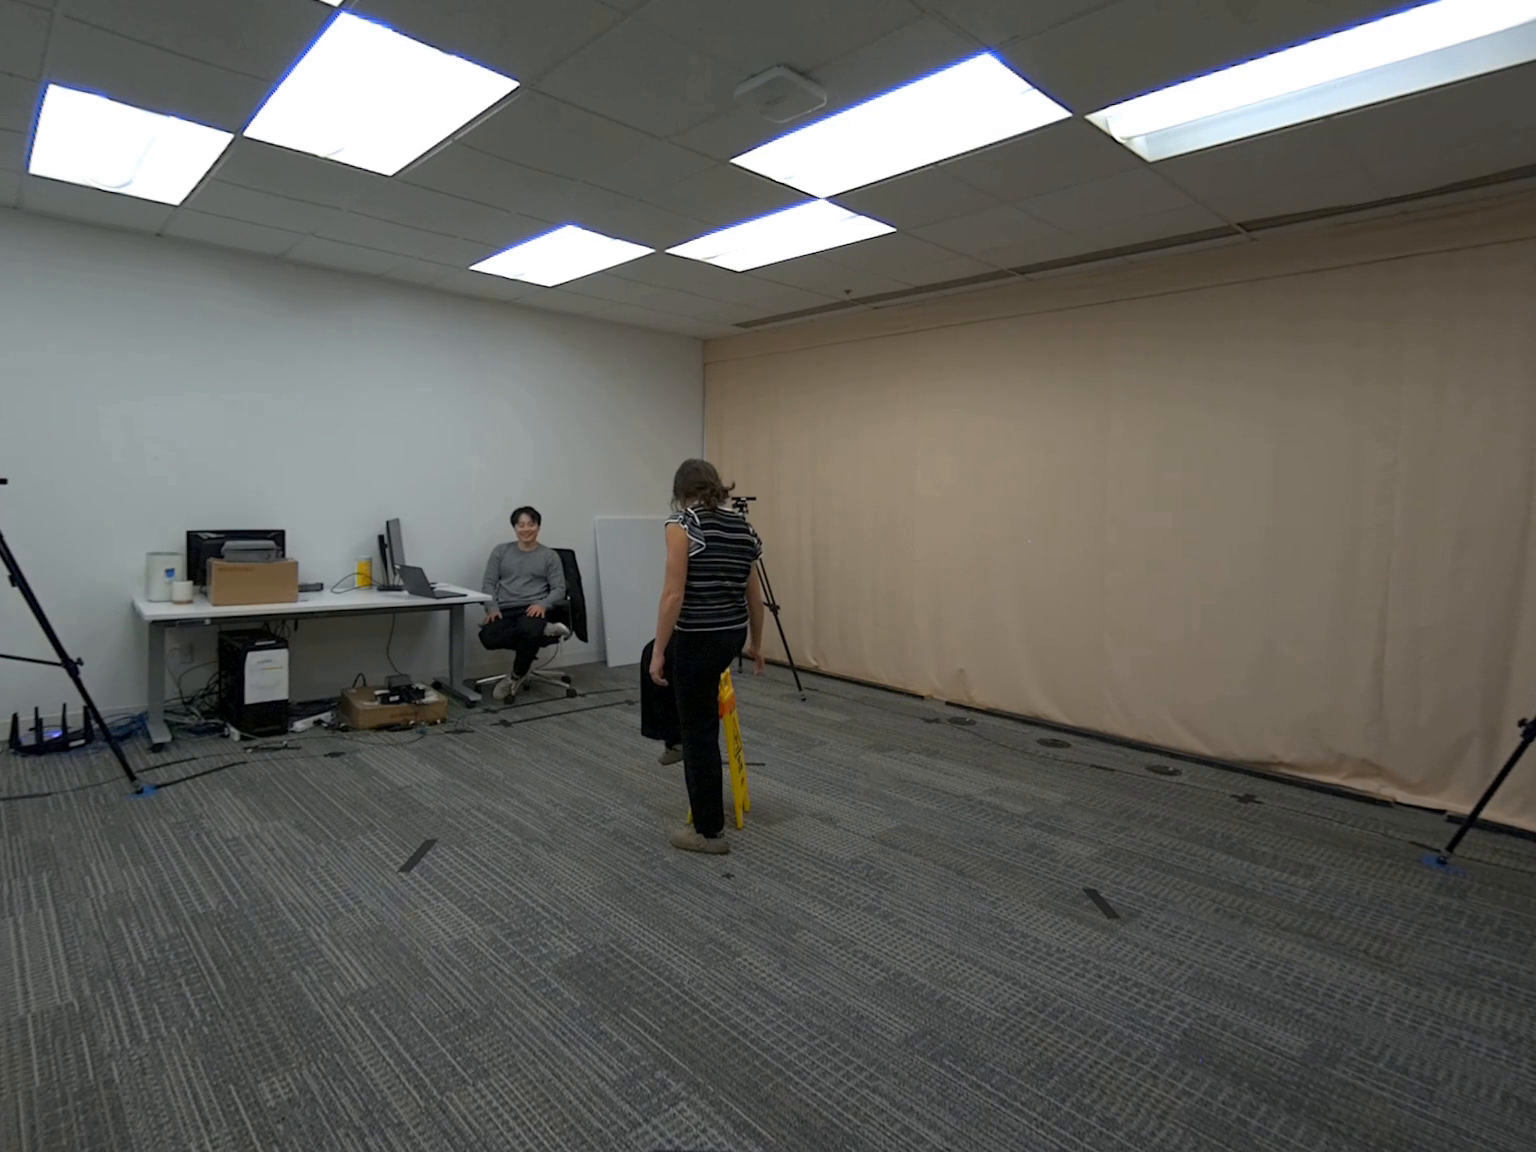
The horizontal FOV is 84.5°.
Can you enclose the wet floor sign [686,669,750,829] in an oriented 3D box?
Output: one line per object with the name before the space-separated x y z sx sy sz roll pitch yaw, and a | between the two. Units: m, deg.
wet floor sign | -0.213 0.730 3.690 0.292 0.644 0.281 3 4 8
